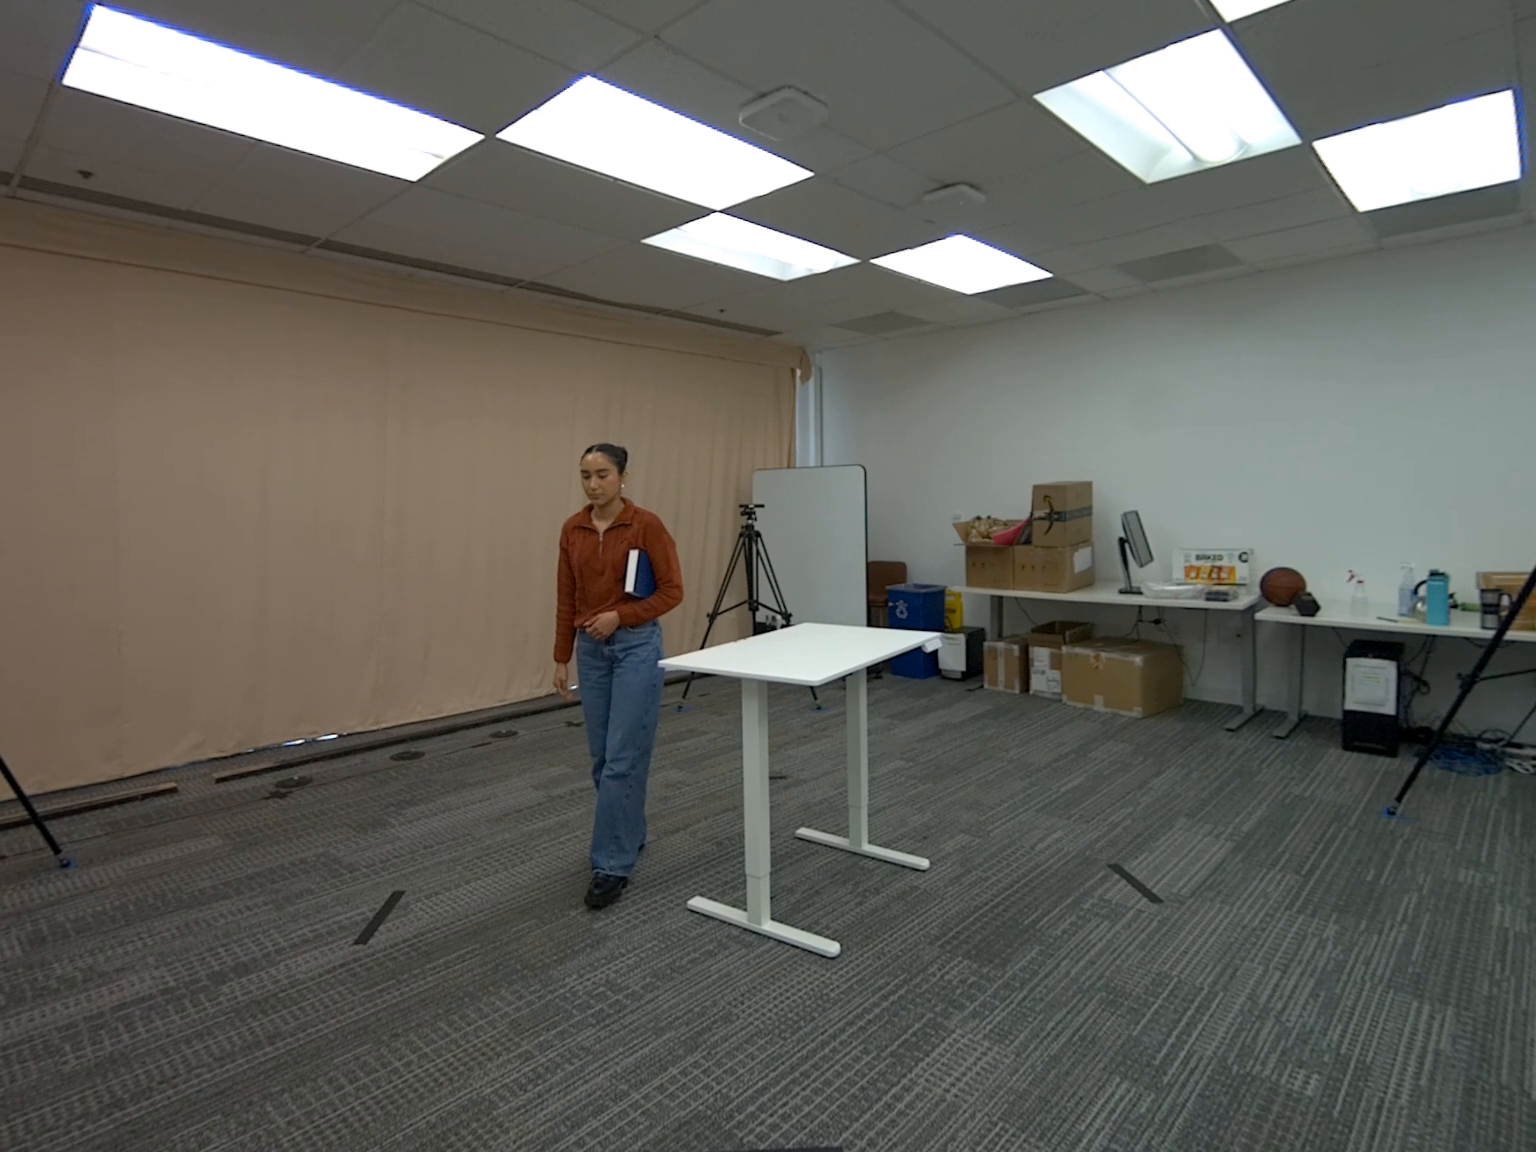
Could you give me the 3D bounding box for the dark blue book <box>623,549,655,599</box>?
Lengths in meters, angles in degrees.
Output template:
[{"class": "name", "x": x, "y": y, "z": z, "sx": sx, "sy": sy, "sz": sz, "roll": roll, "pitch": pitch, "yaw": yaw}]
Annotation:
[{"class": "dark blue book", "x": -0.444, "y": 0.004, "z": 3.144, "sx": 0.046, "sy": 0.164, "sz": 0.239, "roll": 0, "pitch": -13, "yaw": 16}]
